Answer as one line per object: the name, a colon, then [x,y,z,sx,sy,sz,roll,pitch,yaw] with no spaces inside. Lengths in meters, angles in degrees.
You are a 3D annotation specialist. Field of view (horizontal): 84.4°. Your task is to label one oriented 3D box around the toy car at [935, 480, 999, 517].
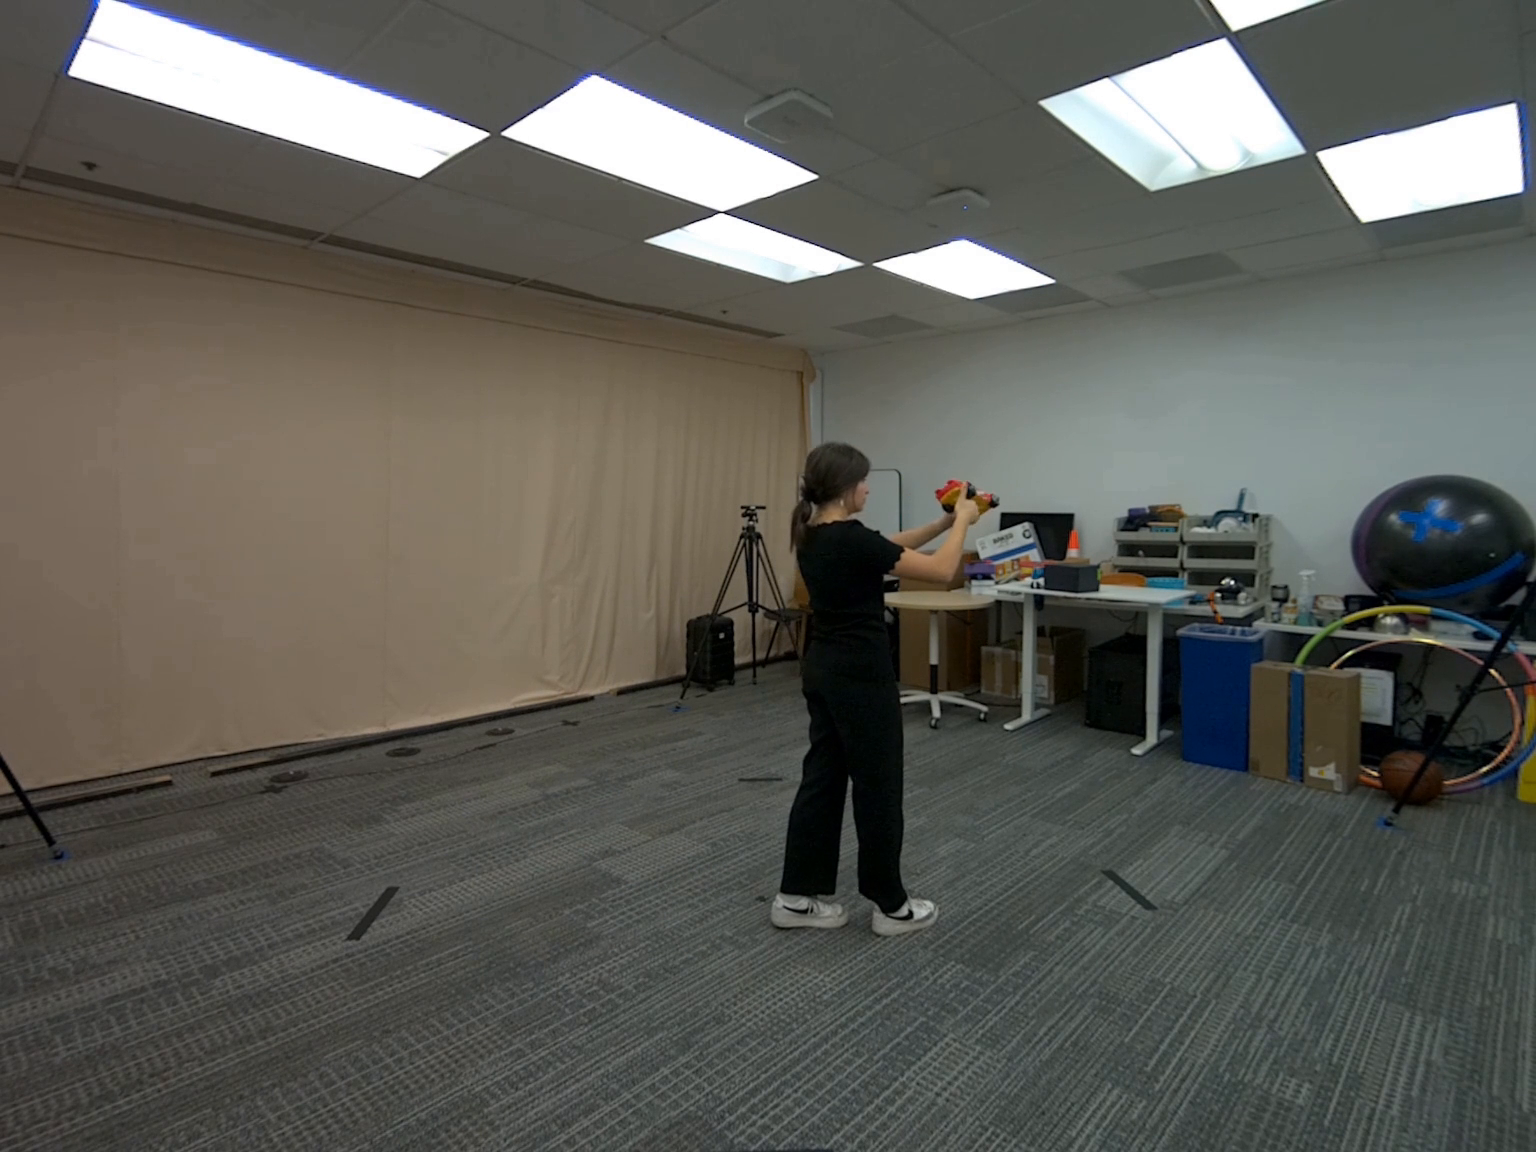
toy car: [0.674,-0.256,2.815,0.246,0.085,0.132,23,-45,-31]
